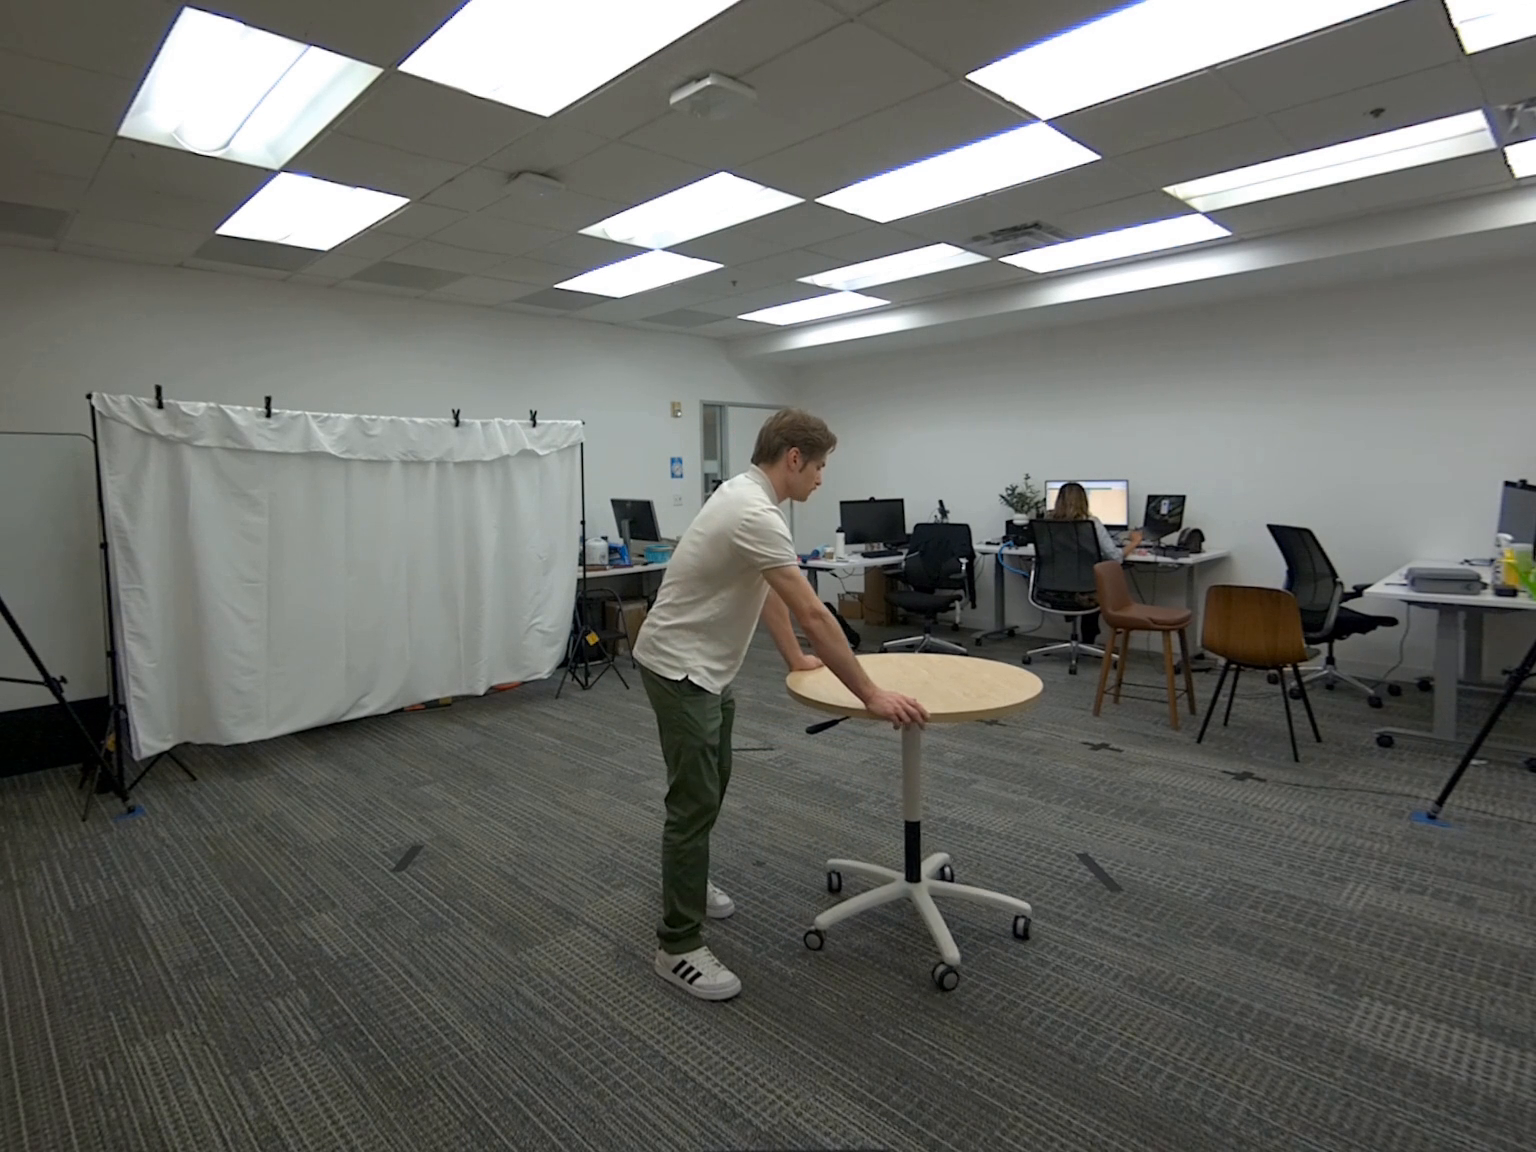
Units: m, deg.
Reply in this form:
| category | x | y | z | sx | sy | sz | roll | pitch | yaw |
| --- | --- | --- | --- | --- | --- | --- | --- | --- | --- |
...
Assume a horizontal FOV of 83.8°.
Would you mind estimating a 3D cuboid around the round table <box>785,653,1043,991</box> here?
| category | x | y | z | sx | sy | sz | roll | pitch | yaw |
| --- | --- | --- | --- | --- | --- | --- | --- | --- | --- |
| round table | 0.453 | 0.704 | 2.655 | 0.763 | 0.791 | 0.768 | -2 | 5 | -2 |
